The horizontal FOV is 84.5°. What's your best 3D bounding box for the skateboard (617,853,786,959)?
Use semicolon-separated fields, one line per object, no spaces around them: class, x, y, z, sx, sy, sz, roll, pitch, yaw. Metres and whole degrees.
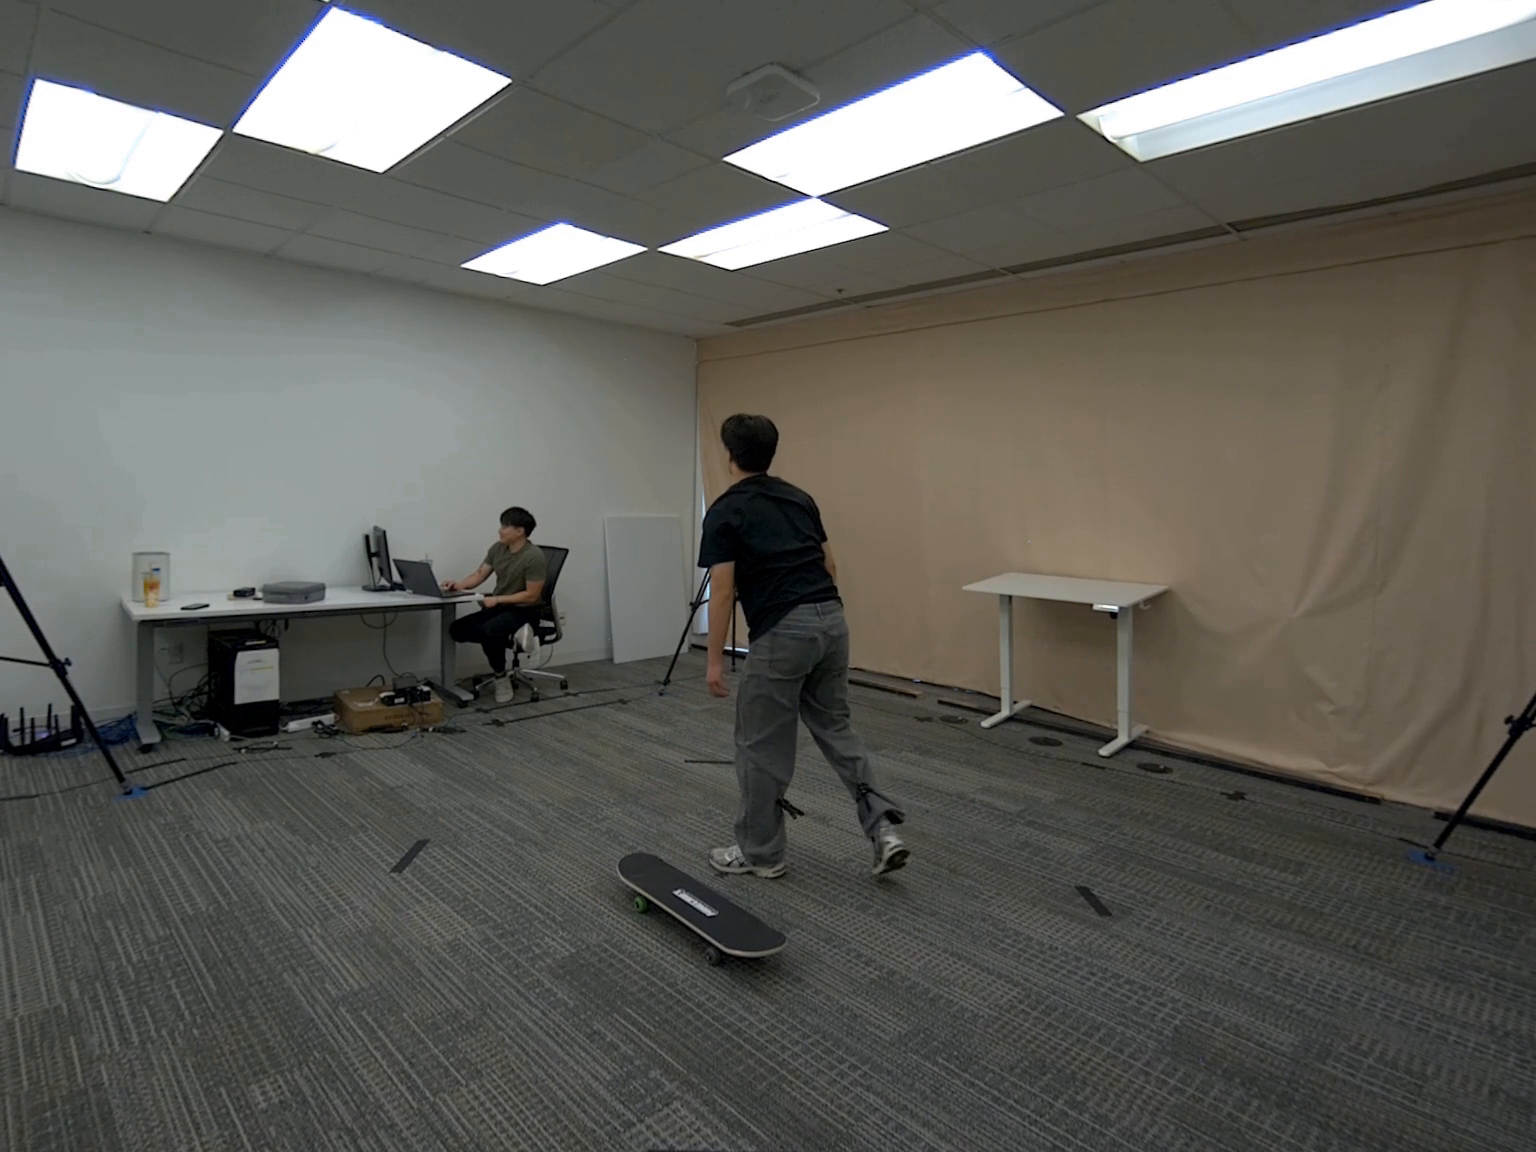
skateboard;-0.244;1.082;2.709;0.189;0.110;0.806;-2;6;-40
